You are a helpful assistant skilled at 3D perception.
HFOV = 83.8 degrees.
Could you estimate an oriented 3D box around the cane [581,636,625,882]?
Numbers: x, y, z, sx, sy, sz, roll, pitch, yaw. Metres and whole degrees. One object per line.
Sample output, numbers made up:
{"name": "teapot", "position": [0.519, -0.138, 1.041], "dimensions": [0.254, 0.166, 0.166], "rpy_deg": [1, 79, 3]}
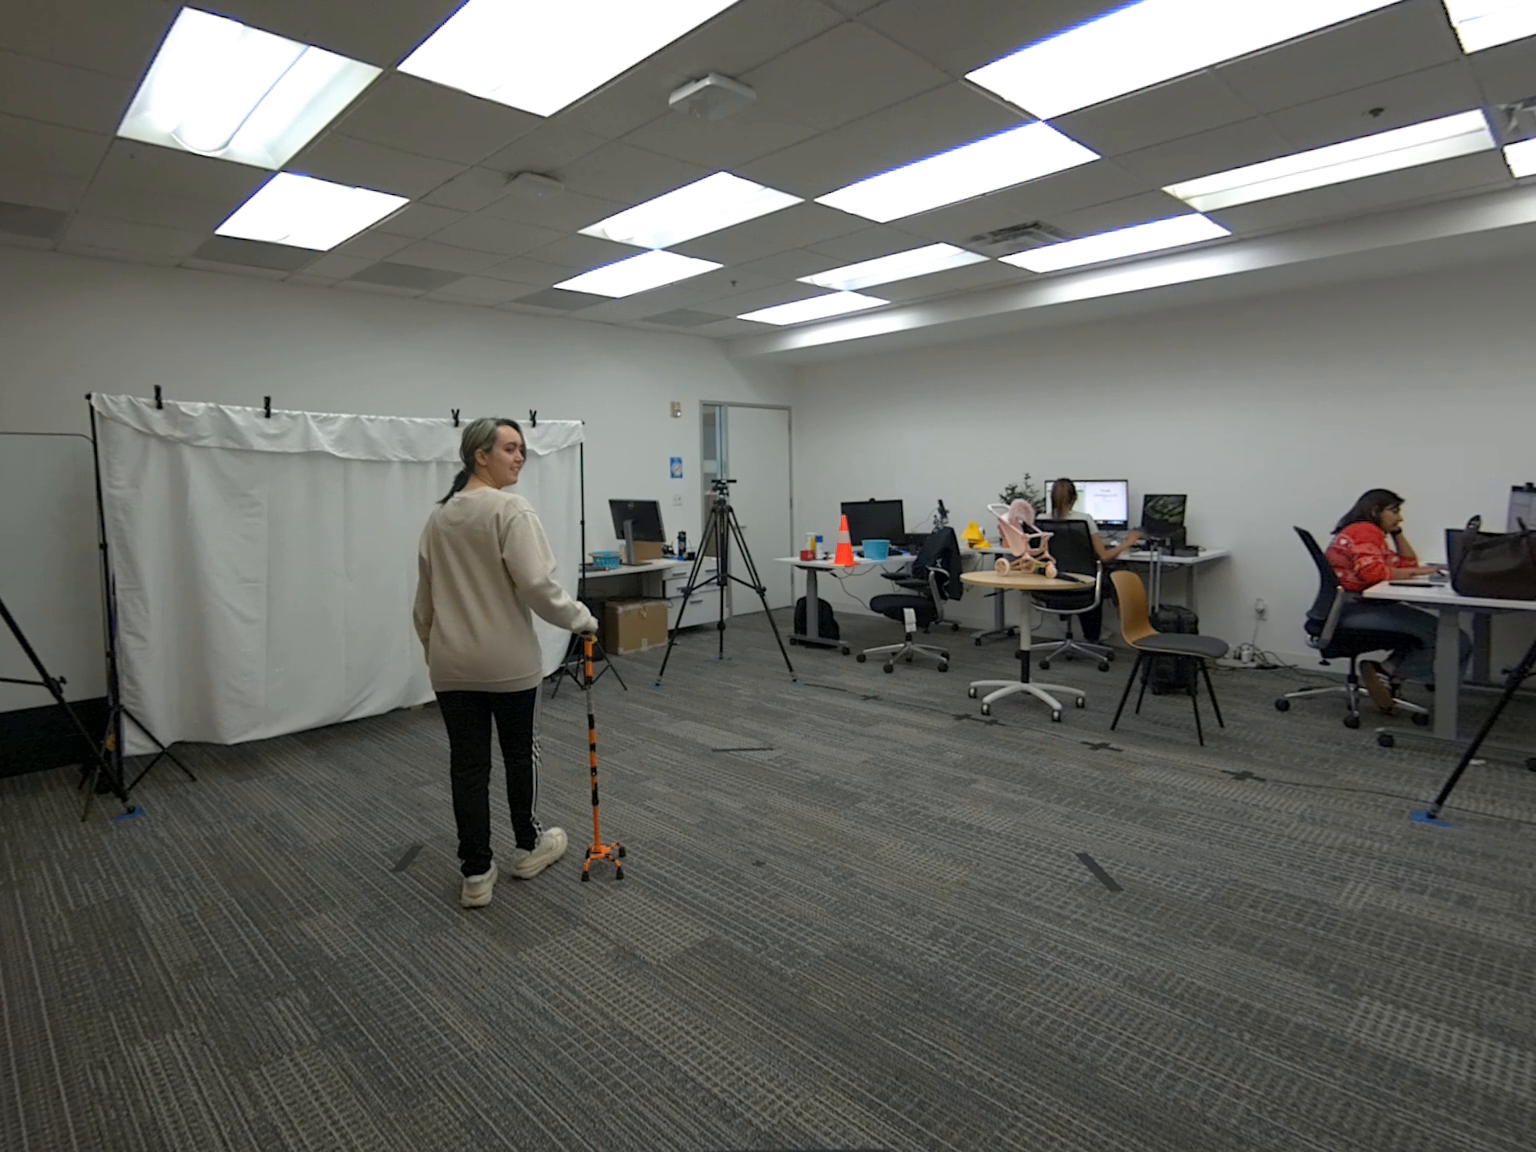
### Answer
{"name": "cane", "position": [-0.607, 0.602, 3.069], "dimensions": [0.150, 0.905, 0.209], "rpy_deg": [-3, 3, -9]}
